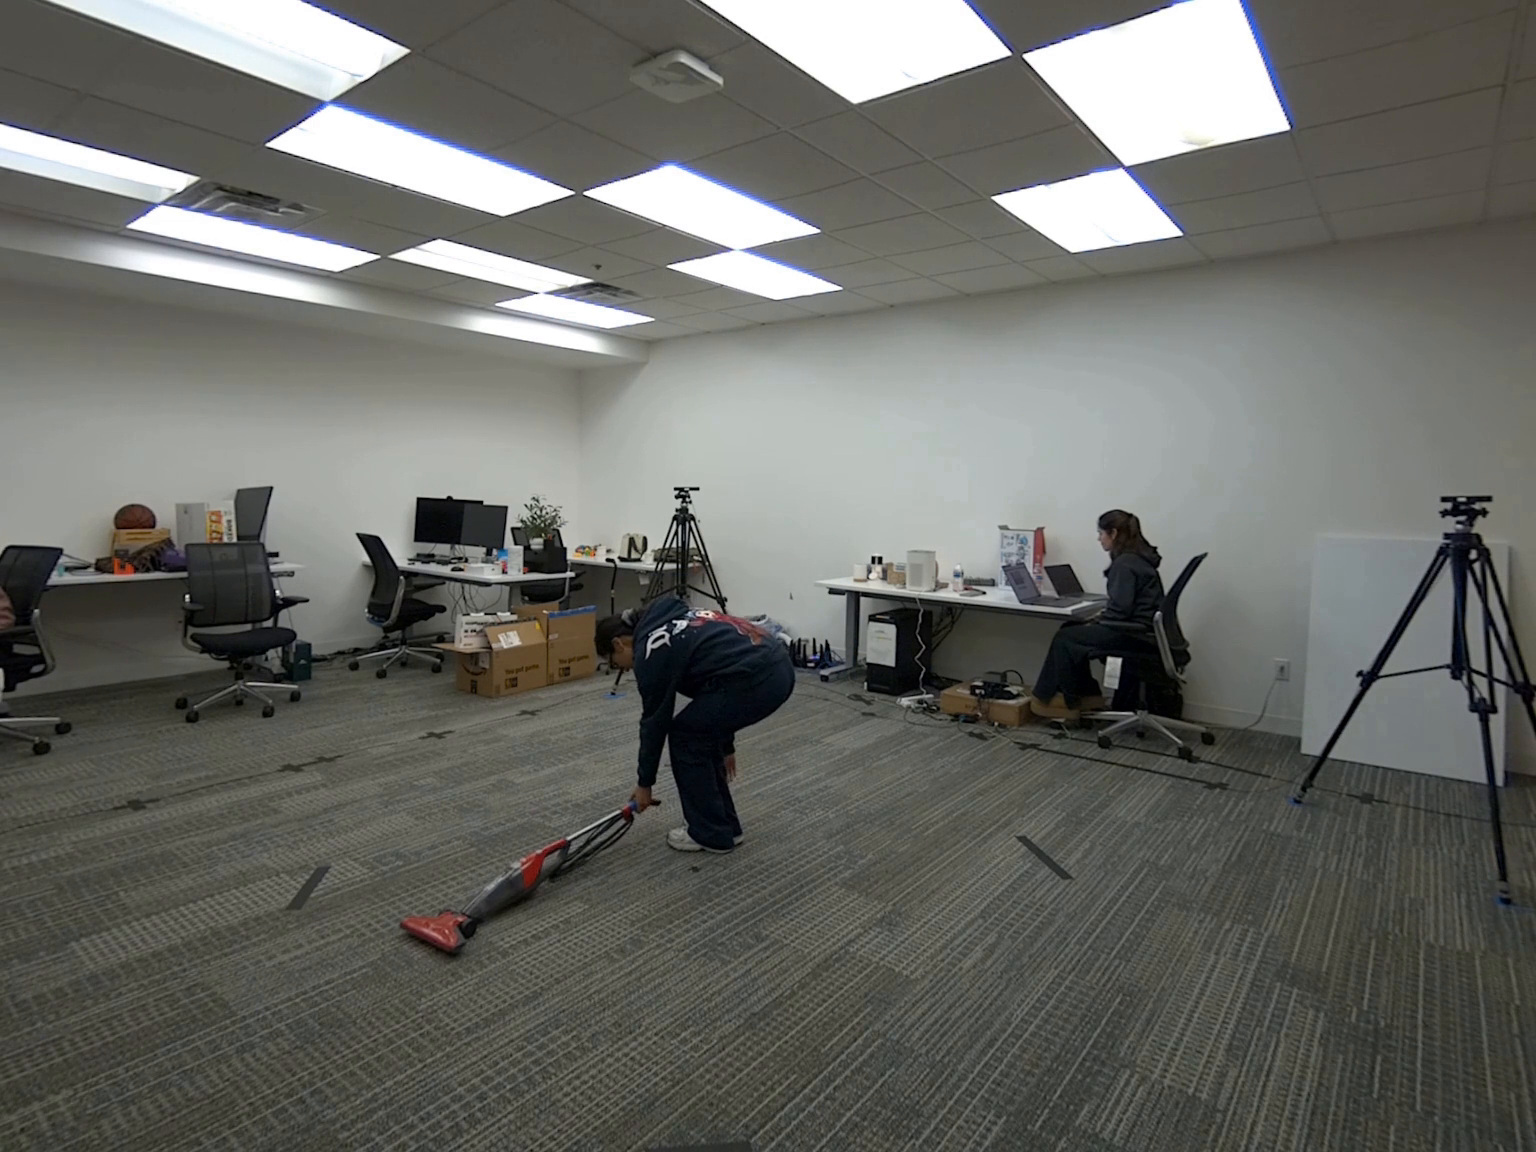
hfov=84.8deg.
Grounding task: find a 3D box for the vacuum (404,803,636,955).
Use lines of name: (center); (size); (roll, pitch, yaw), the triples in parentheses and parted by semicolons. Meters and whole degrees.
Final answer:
vacuum: (-0.740, 1.000, 3.014); (0.260, 0.143, 1.025); (-1, 7, 32)
